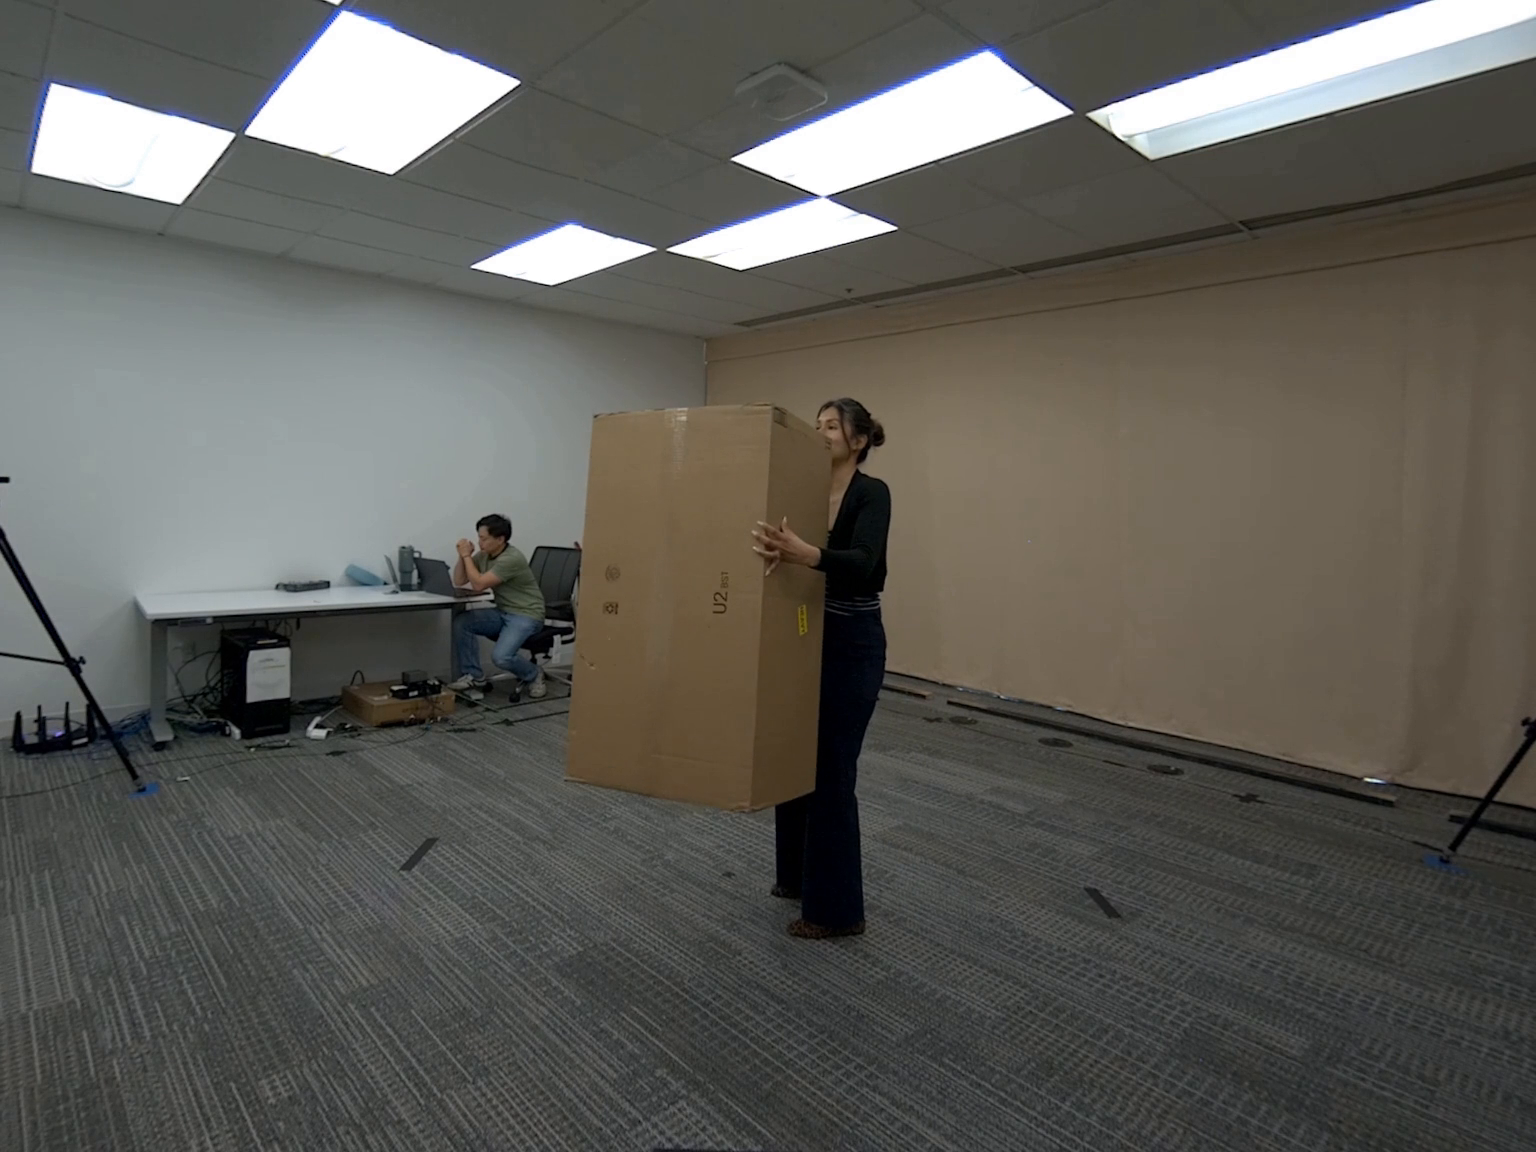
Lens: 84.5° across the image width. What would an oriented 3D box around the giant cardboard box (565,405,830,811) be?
[{"bbox_3d":[-0.196,0.080,2.397,0.589,1.030,0.416,0,-6,27],"label":"giant cardboard box"}]
